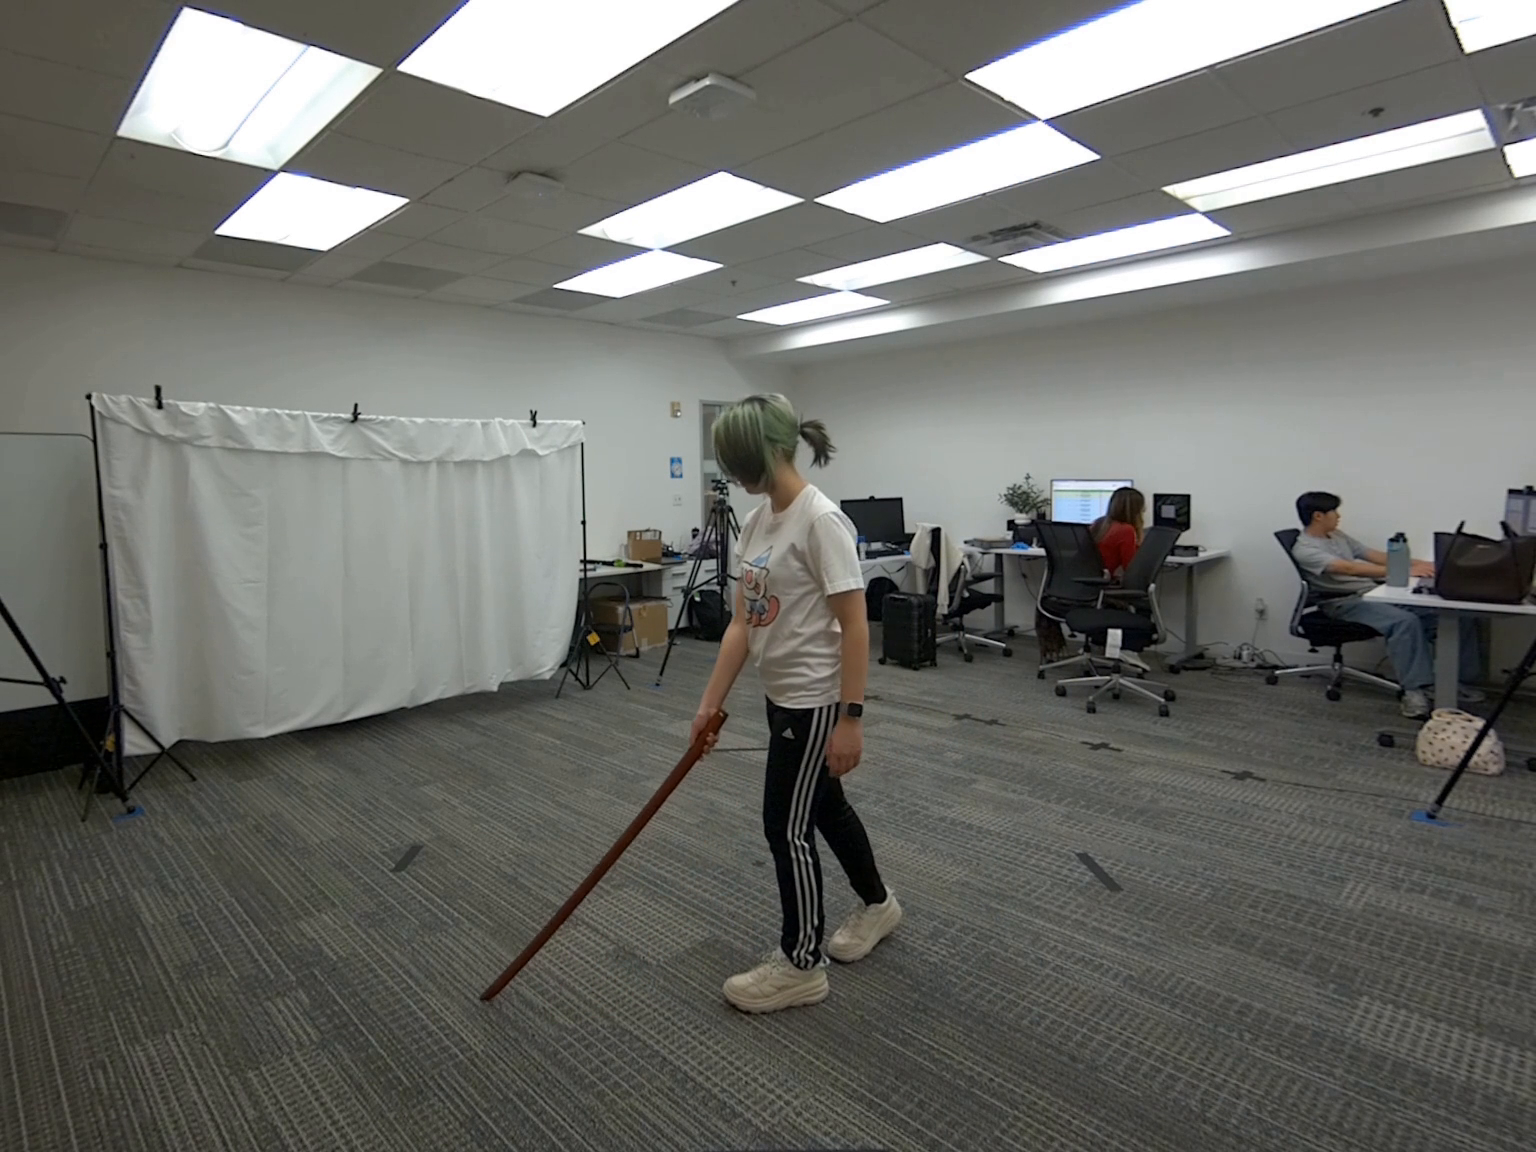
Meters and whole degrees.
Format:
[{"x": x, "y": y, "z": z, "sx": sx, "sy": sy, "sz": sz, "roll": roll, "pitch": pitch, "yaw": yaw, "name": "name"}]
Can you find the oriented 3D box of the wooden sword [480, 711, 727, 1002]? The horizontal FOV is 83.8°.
[{"x": -0.428, "y": 0.766, "z": 2.306, "sx": 0.024, "sy": 1.025, "sz": 0.051, "roll": 40, "pitch": -1, "yaw": -5, "name": "wooden sword"}]
